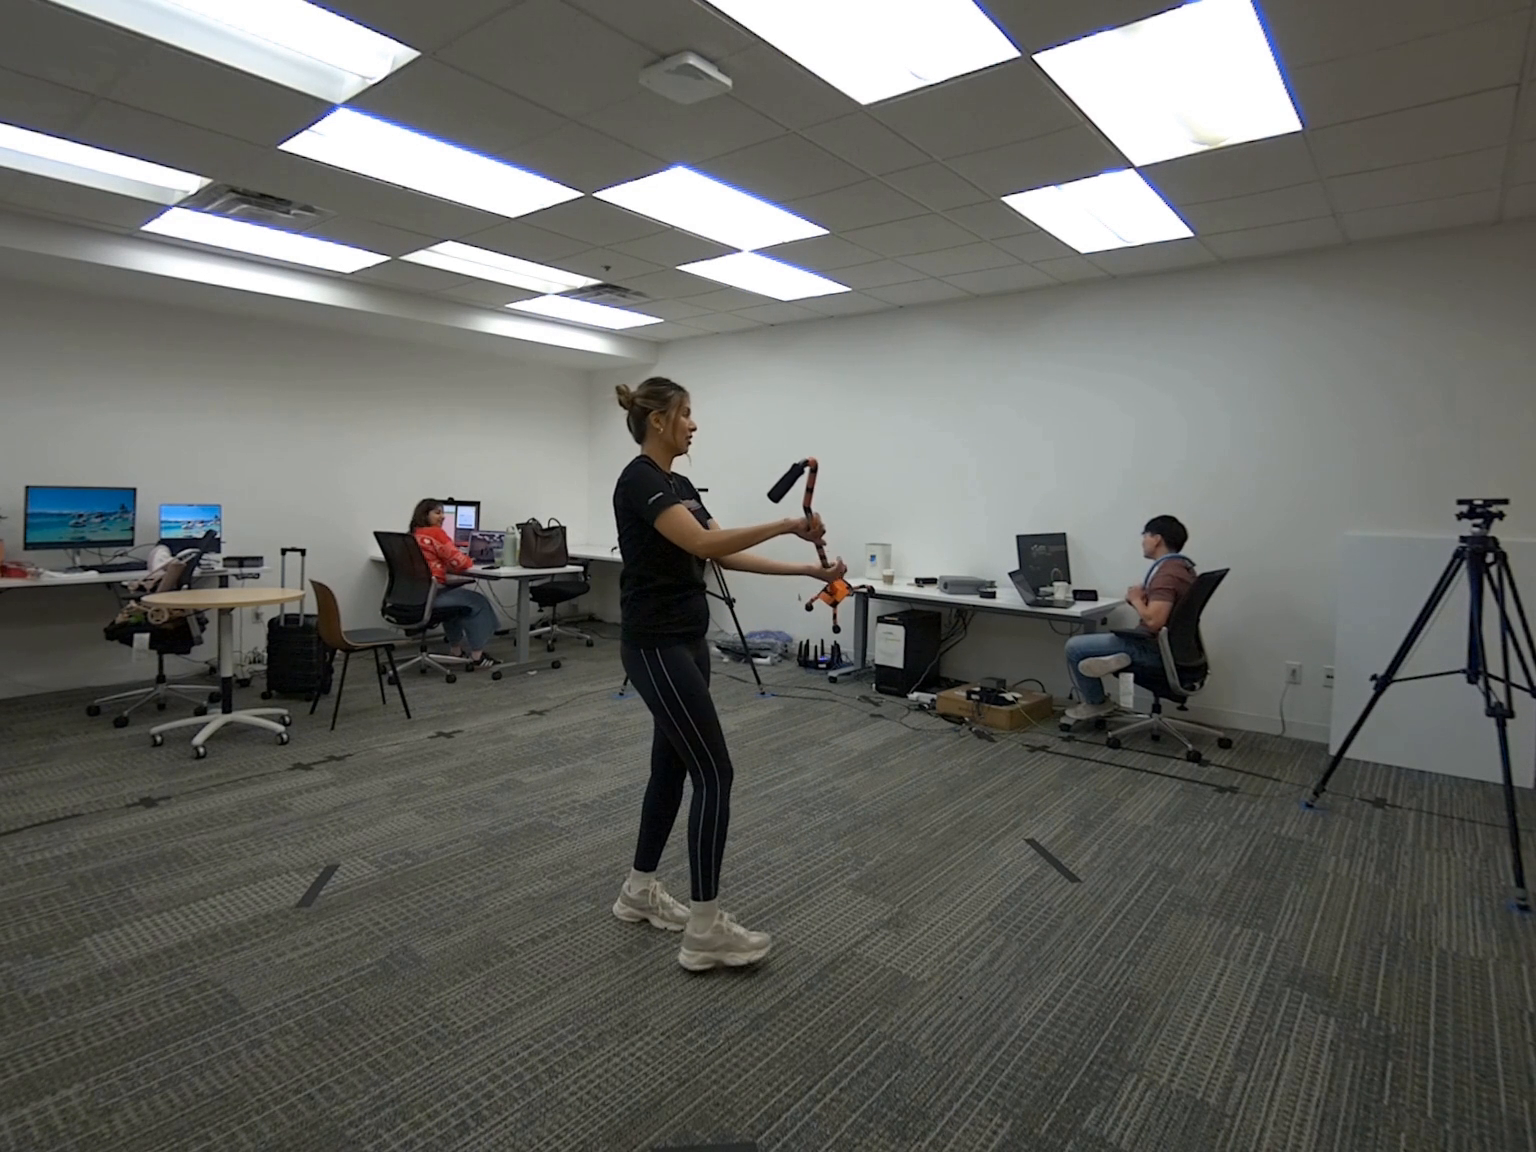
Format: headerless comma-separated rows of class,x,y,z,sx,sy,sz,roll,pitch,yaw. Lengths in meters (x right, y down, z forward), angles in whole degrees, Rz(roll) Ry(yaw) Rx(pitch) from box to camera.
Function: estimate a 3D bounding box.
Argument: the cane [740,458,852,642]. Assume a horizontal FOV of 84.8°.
cane,0.157,-0.091,2.475,0.156,0.206,0.879,40,-10,23
